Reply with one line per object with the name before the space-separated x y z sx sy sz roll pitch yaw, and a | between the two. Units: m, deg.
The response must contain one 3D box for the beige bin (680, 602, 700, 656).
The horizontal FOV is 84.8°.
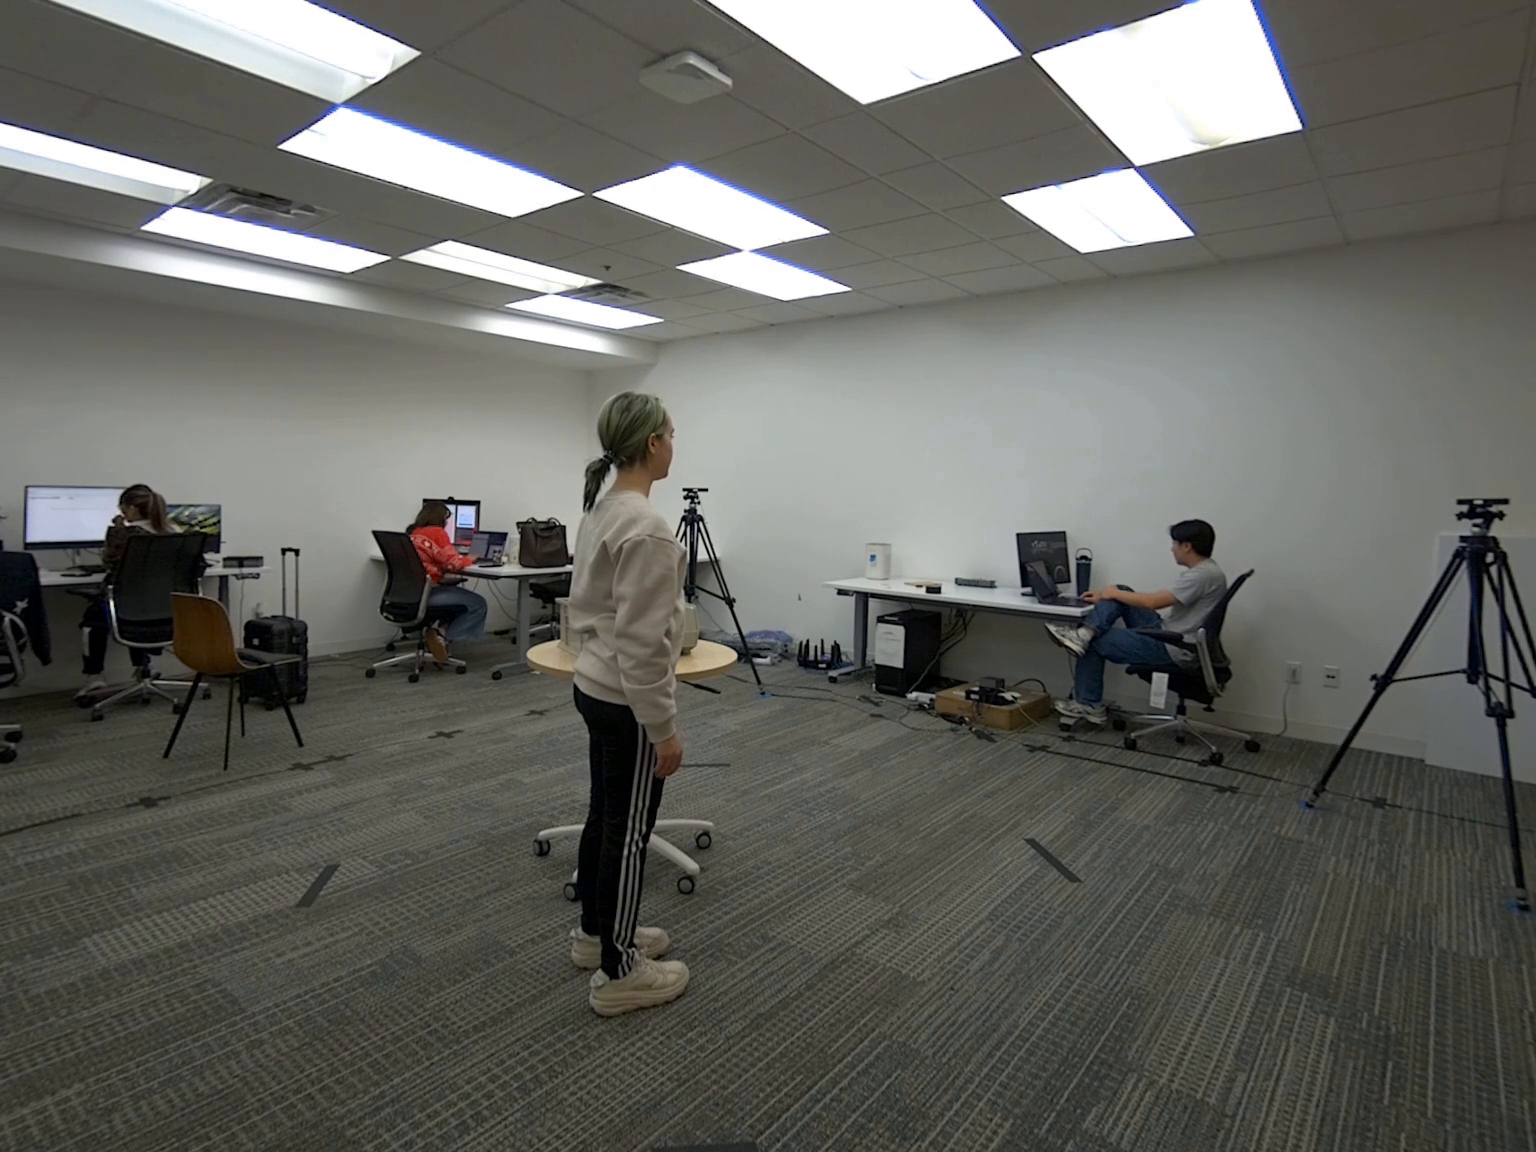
beige bin | -0.530 0.185 3.145 0.411 0.188 0.389 -2 4 -31
